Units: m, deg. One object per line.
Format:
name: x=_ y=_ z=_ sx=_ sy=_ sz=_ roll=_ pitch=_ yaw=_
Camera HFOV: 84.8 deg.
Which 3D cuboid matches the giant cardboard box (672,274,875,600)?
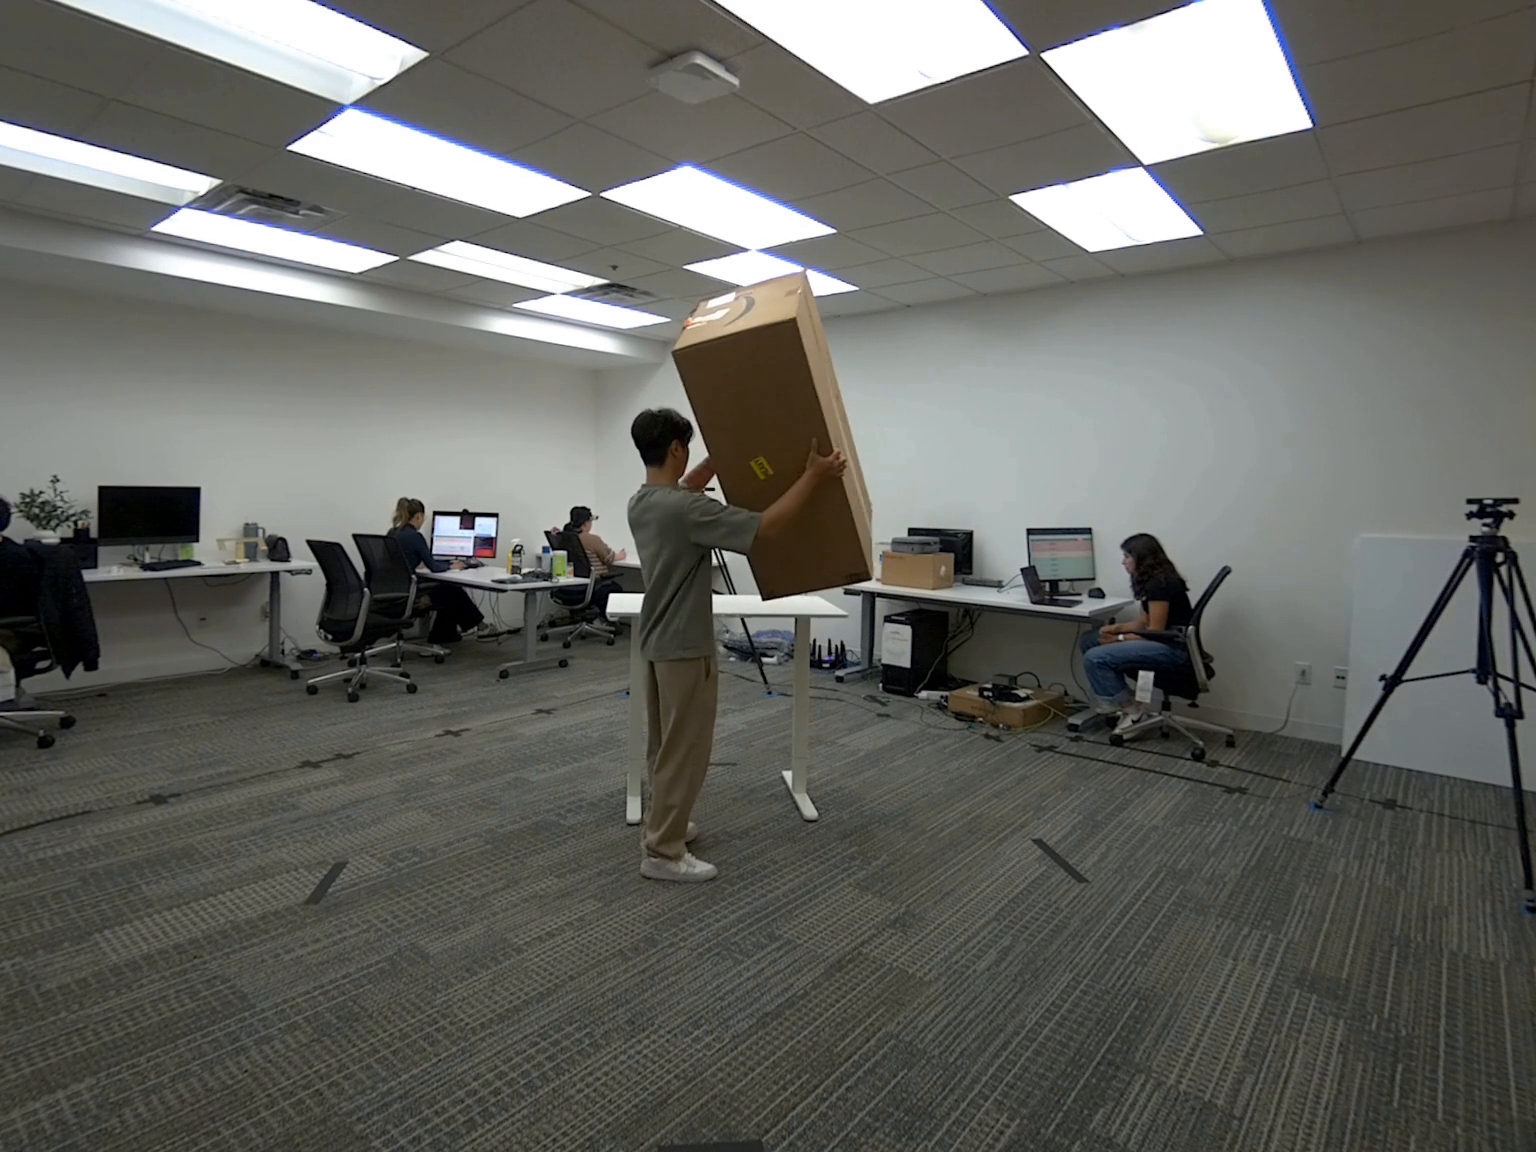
giant cardboard box: x=0.039 y=-0.501 z=3.152 sx=0.432 sy=0.993 sz=0.589 roll=-12 pitch=30 yaw=14
